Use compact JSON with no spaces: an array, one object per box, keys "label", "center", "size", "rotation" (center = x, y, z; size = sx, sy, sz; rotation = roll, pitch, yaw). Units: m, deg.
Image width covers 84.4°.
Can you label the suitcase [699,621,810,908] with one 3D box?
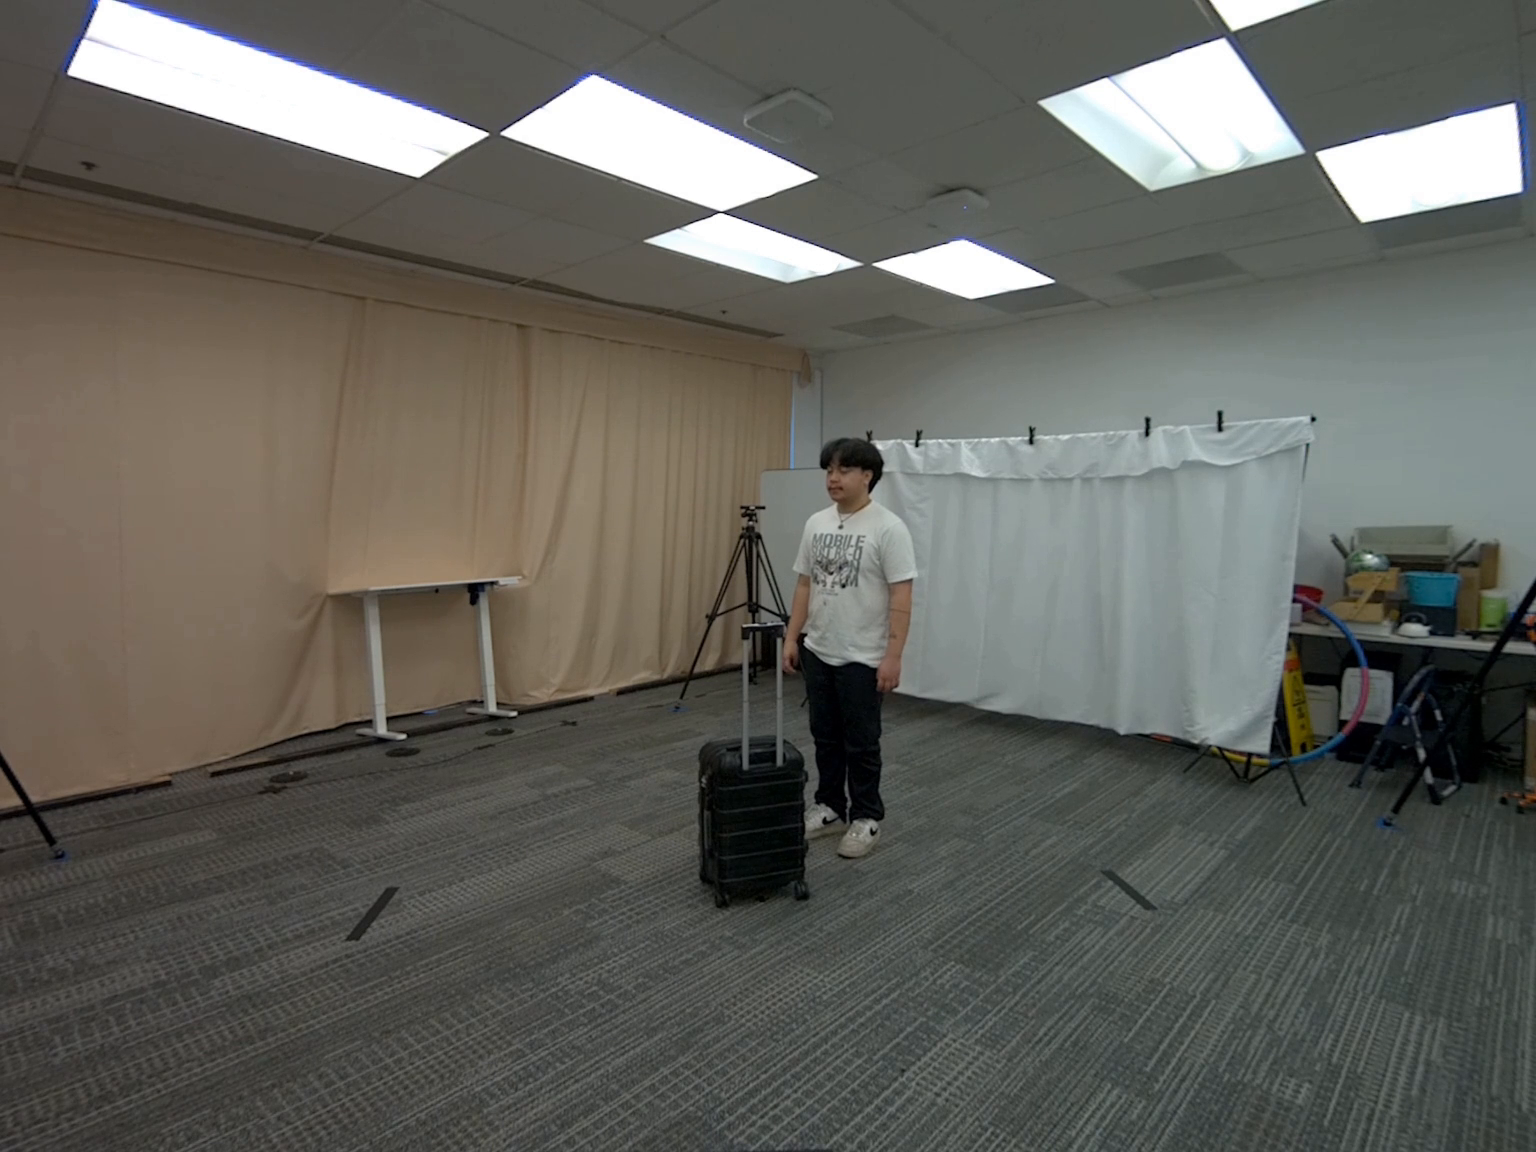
[{"label":"suitcase","center":[-0.059,0.663,3.035],"size":[0.377,0.977,0.262],"rotation":[0,2,-17]}]
